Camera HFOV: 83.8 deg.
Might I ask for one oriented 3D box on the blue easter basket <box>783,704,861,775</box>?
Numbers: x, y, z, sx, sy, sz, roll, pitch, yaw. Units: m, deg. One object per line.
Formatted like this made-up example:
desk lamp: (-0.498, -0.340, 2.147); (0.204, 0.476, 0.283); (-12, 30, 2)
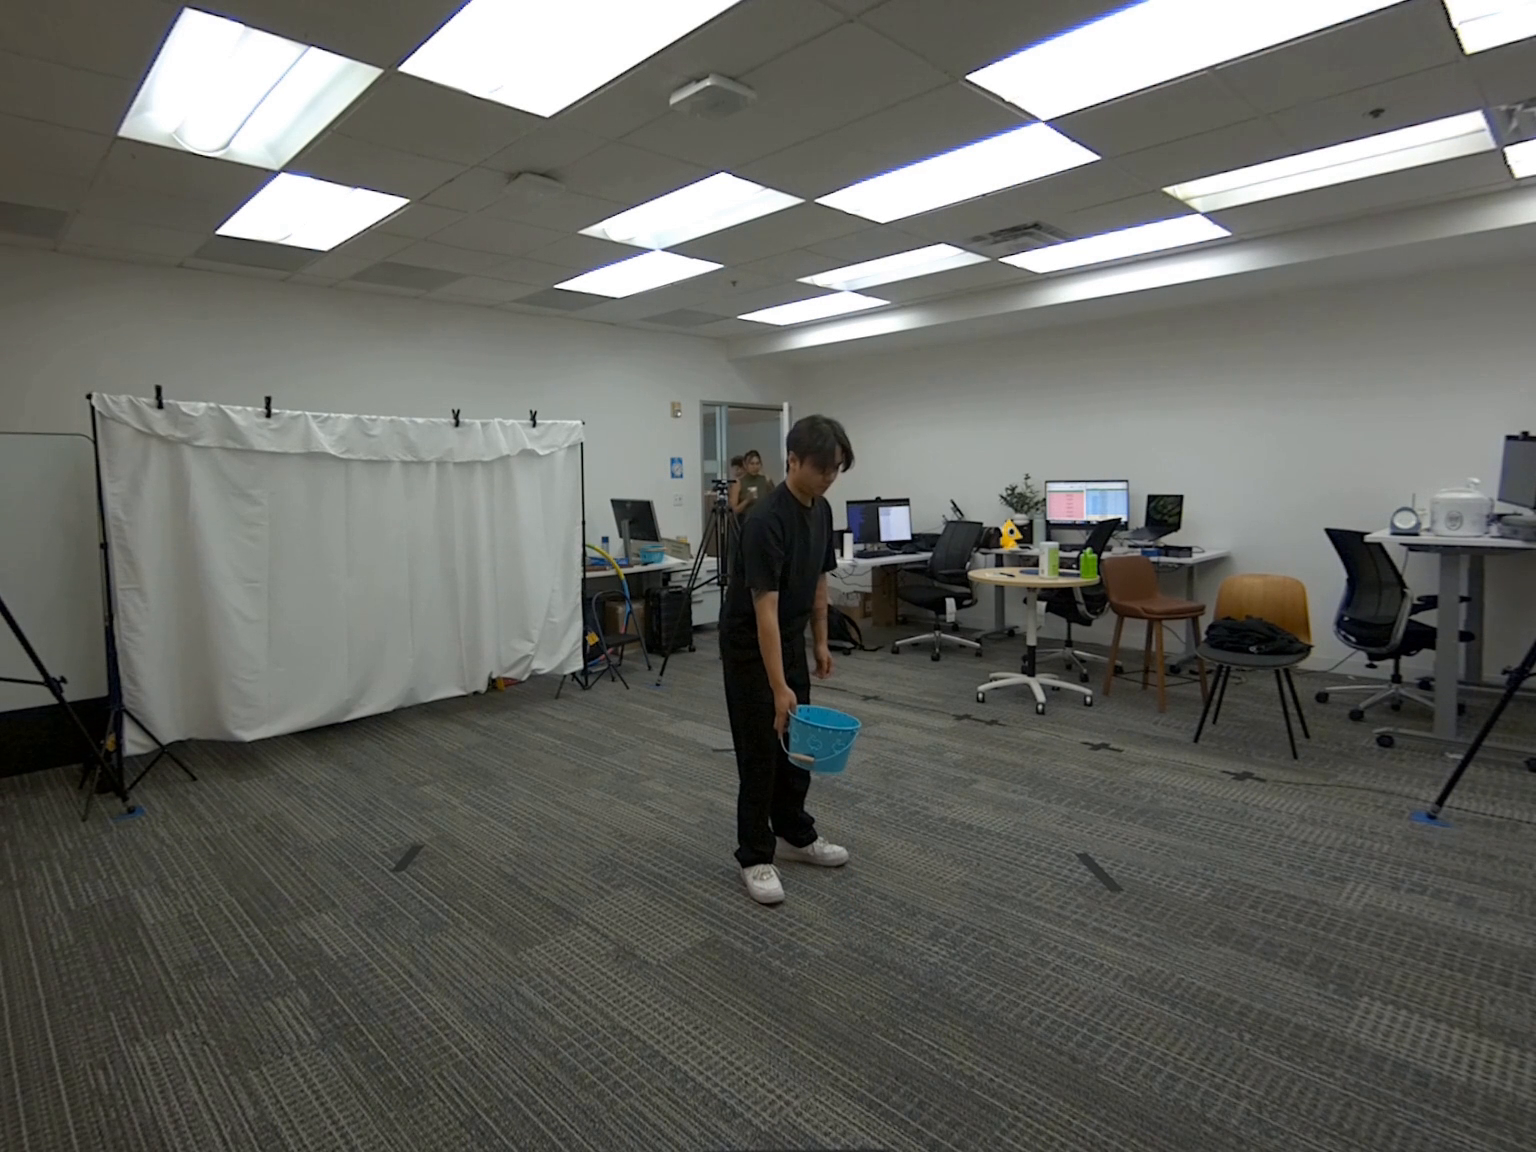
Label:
blue easter basket: (0.164, 0.523, 2.696); (0.243, 0.155, 0.245); (9, 4, -2)
